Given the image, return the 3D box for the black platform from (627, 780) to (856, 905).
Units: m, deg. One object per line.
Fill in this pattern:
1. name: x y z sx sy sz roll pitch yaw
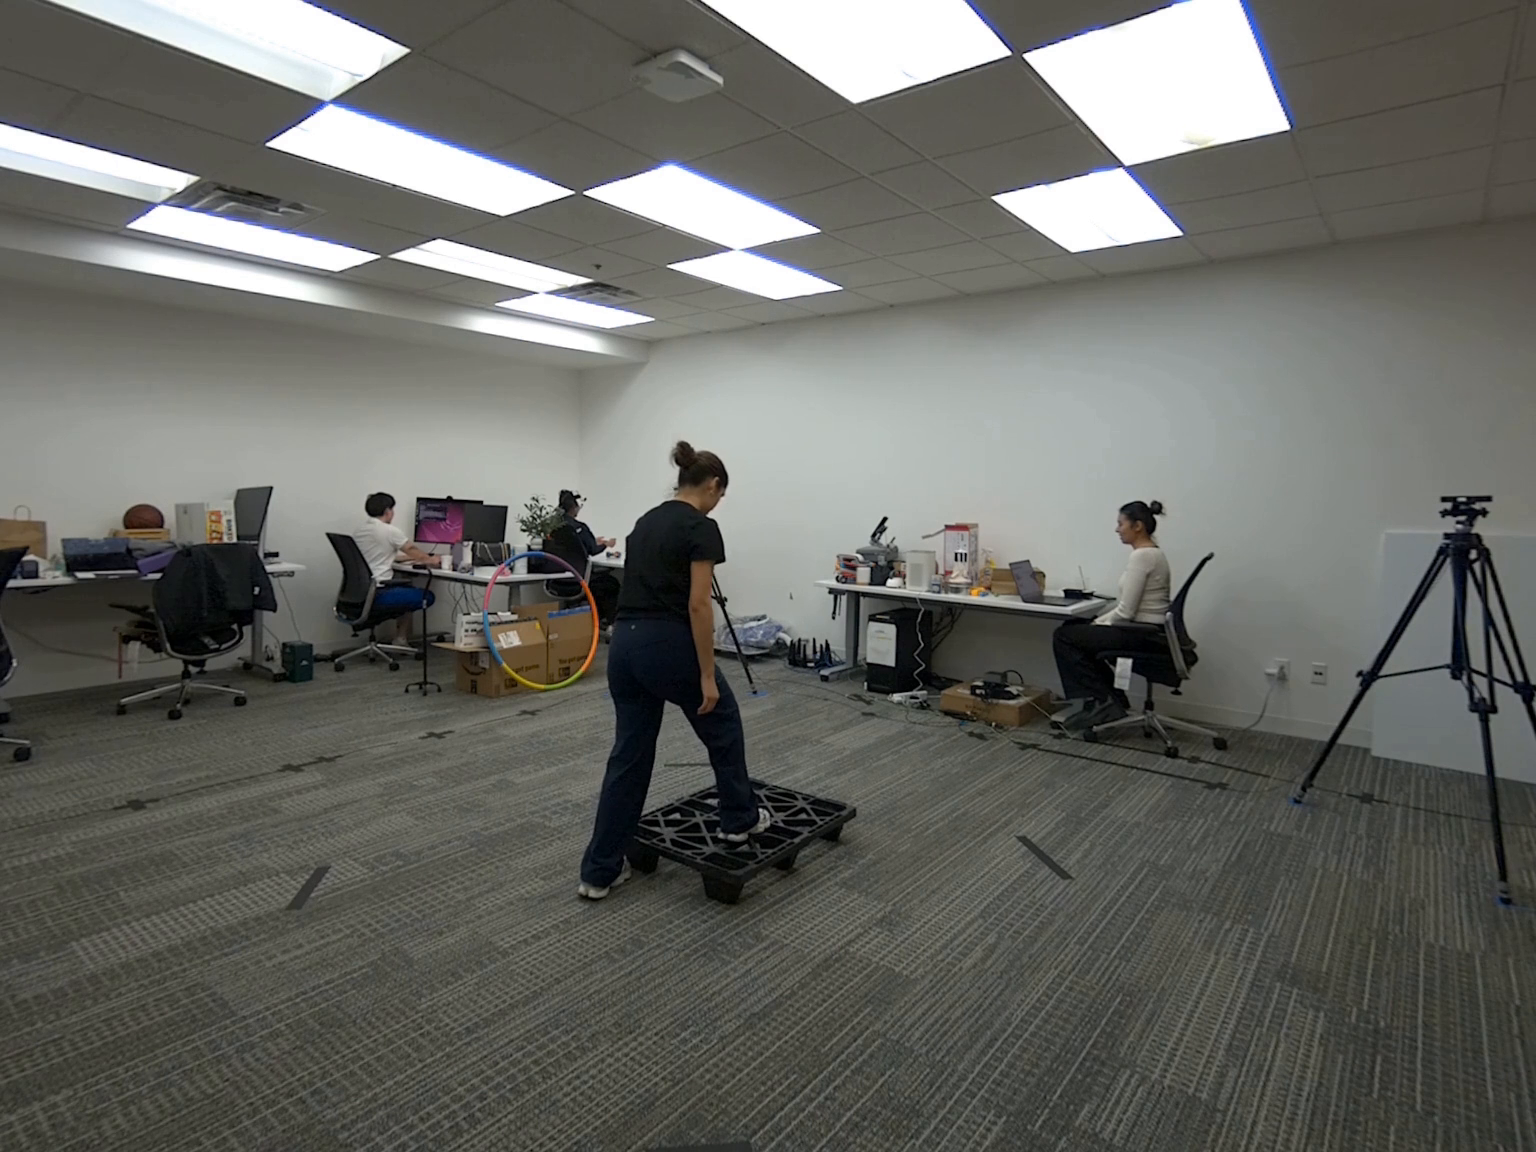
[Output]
1. black platform: -0.088 0.985 3.268 0.625 0.143 0.783 5 7 37
